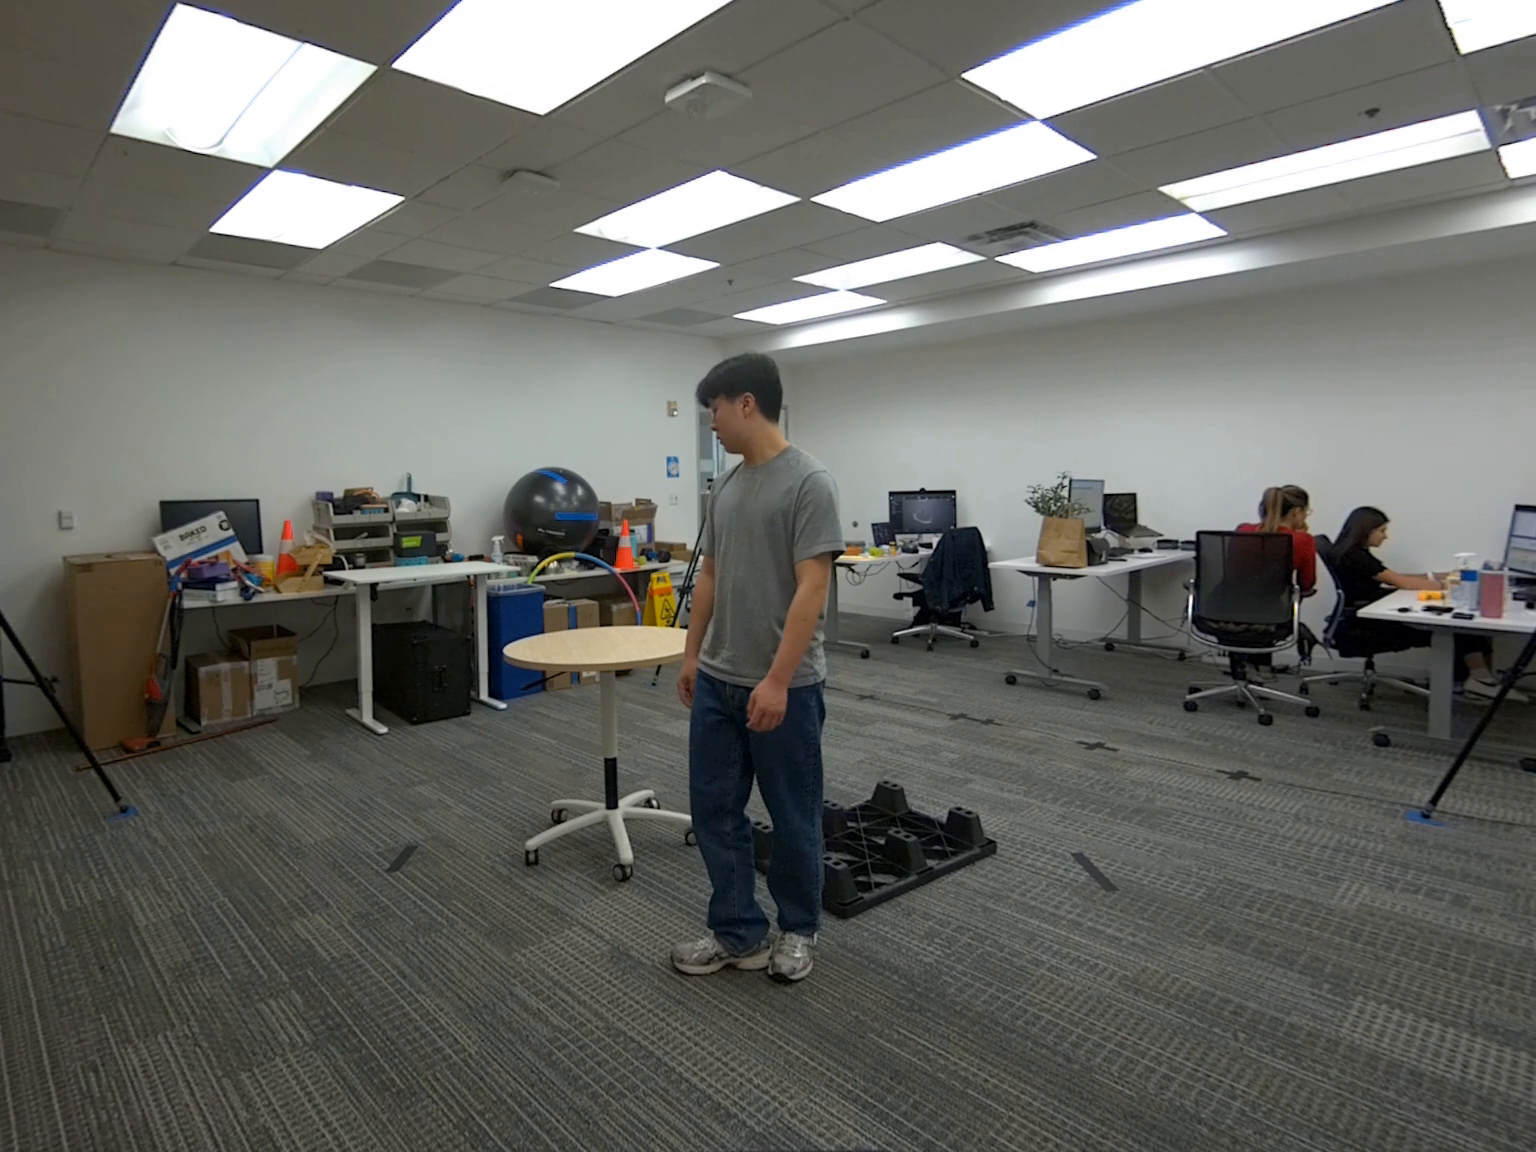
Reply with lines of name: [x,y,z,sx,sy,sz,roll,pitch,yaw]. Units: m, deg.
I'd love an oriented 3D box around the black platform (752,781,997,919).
black platform: [0.360,0.965,3.170,0.785,0.142,0.624,-6,8,-38]
